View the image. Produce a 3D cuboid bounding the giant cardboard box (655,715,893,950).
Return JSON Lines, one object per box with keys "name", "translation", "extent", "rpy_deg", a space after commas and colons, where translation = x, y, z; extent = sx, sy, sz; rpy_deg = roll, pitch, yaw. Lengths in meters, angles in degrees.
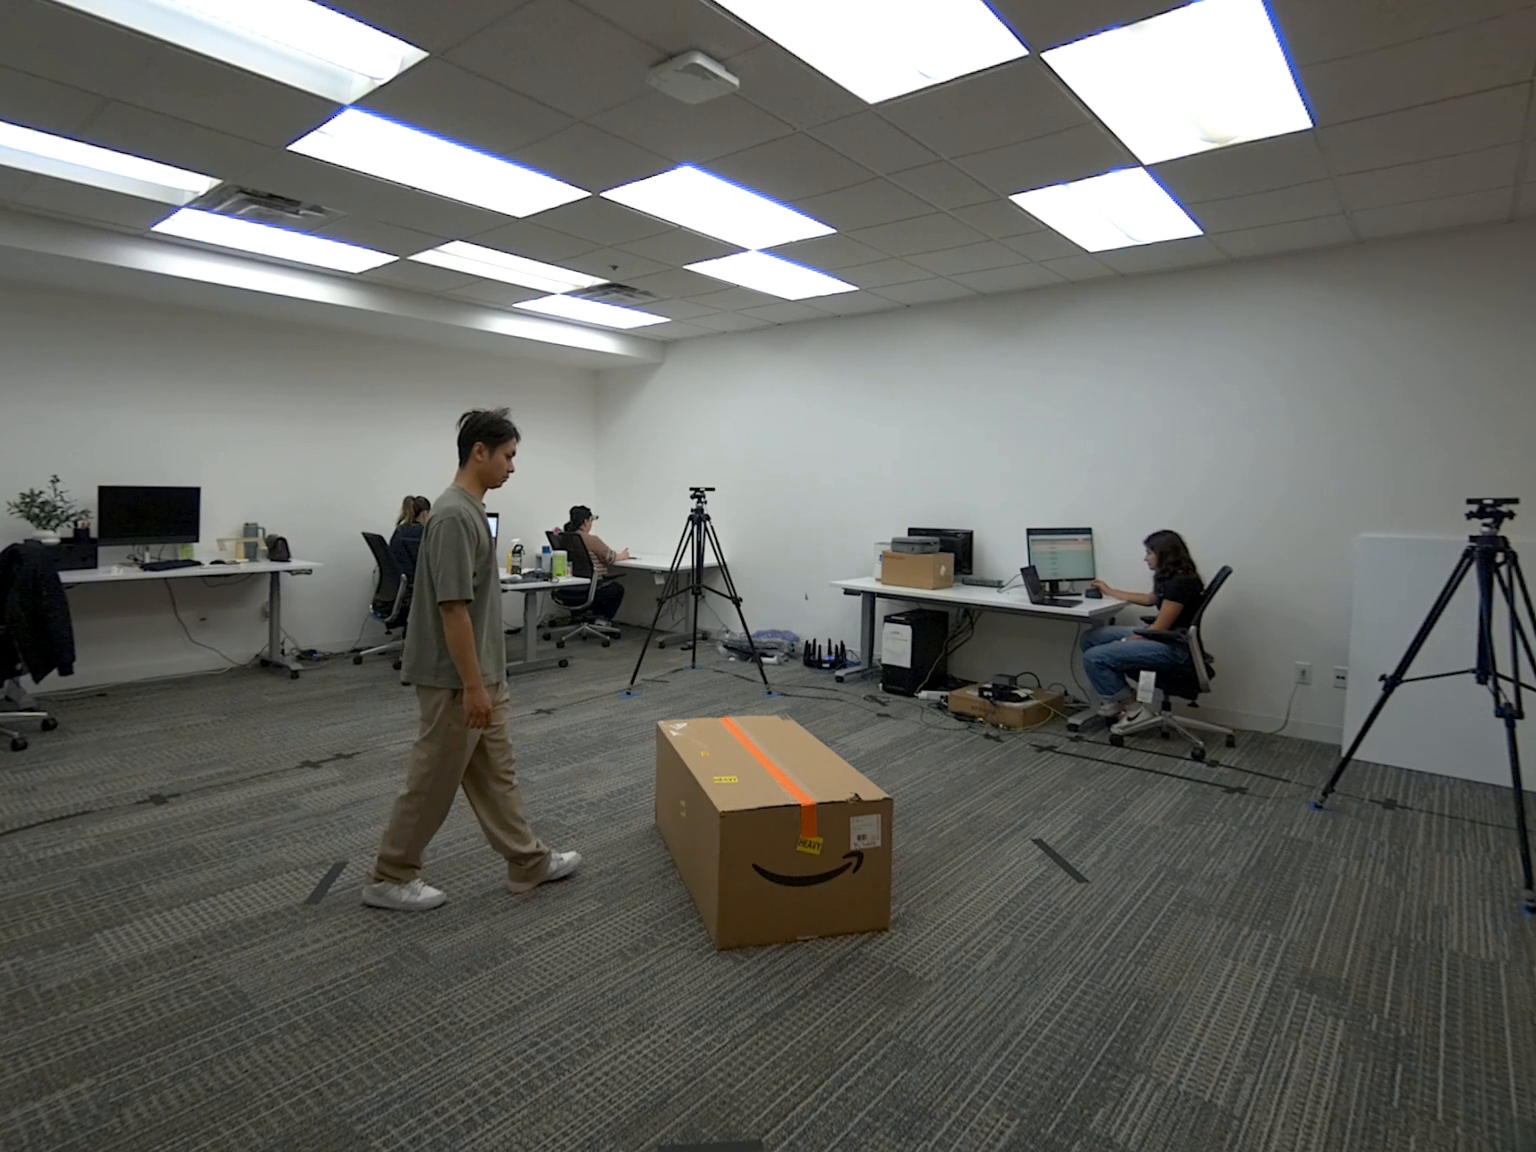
{"name": "giant cardboard box", "translation": [-0.042, 0.852, 3.103], "extent": [0.568, 0.424, 1.047], "rpy_deg": [-1, 6, -17]}
